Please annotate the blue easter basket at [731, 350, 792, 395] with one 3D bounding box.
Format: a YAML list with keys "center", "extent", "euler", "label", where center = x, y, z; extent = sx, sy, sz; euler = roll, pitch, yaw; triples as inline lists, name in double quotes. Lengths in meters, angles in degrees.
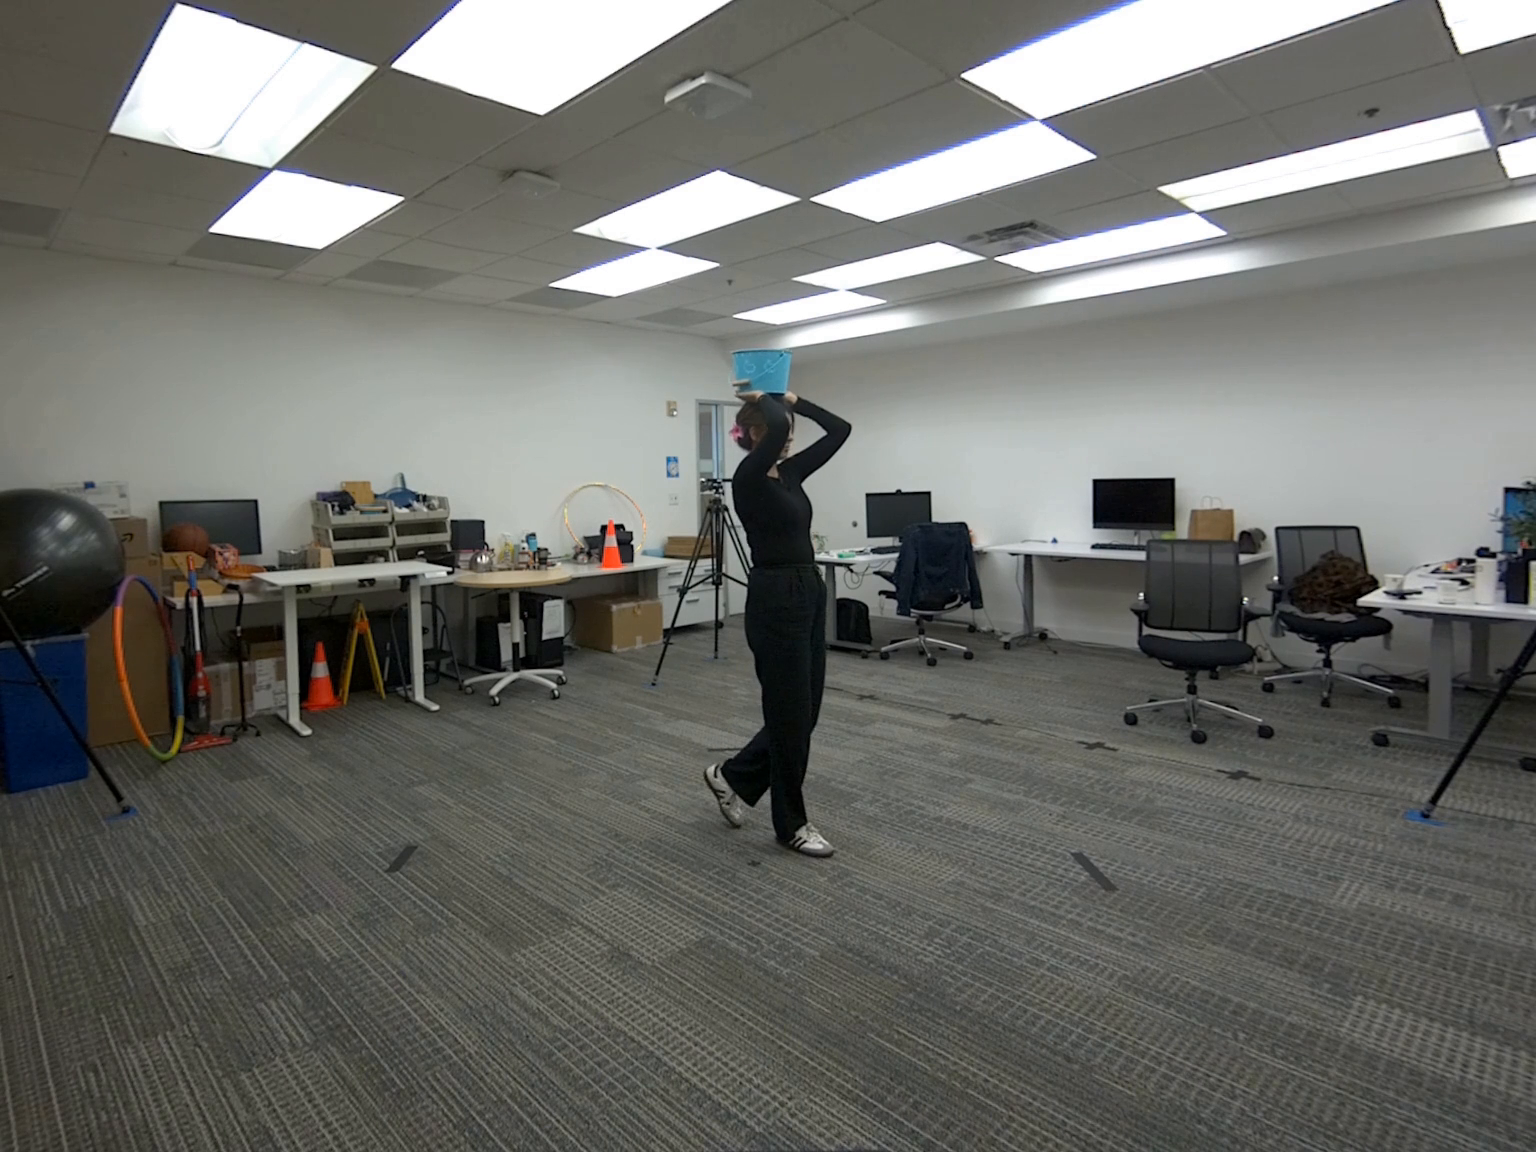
- center: [-0.032, -0.755, 3.175]
  extent: [0.243, 0.155, 0.245]
  euler: [0, 7, -2]
  label: "blue easter basket"
